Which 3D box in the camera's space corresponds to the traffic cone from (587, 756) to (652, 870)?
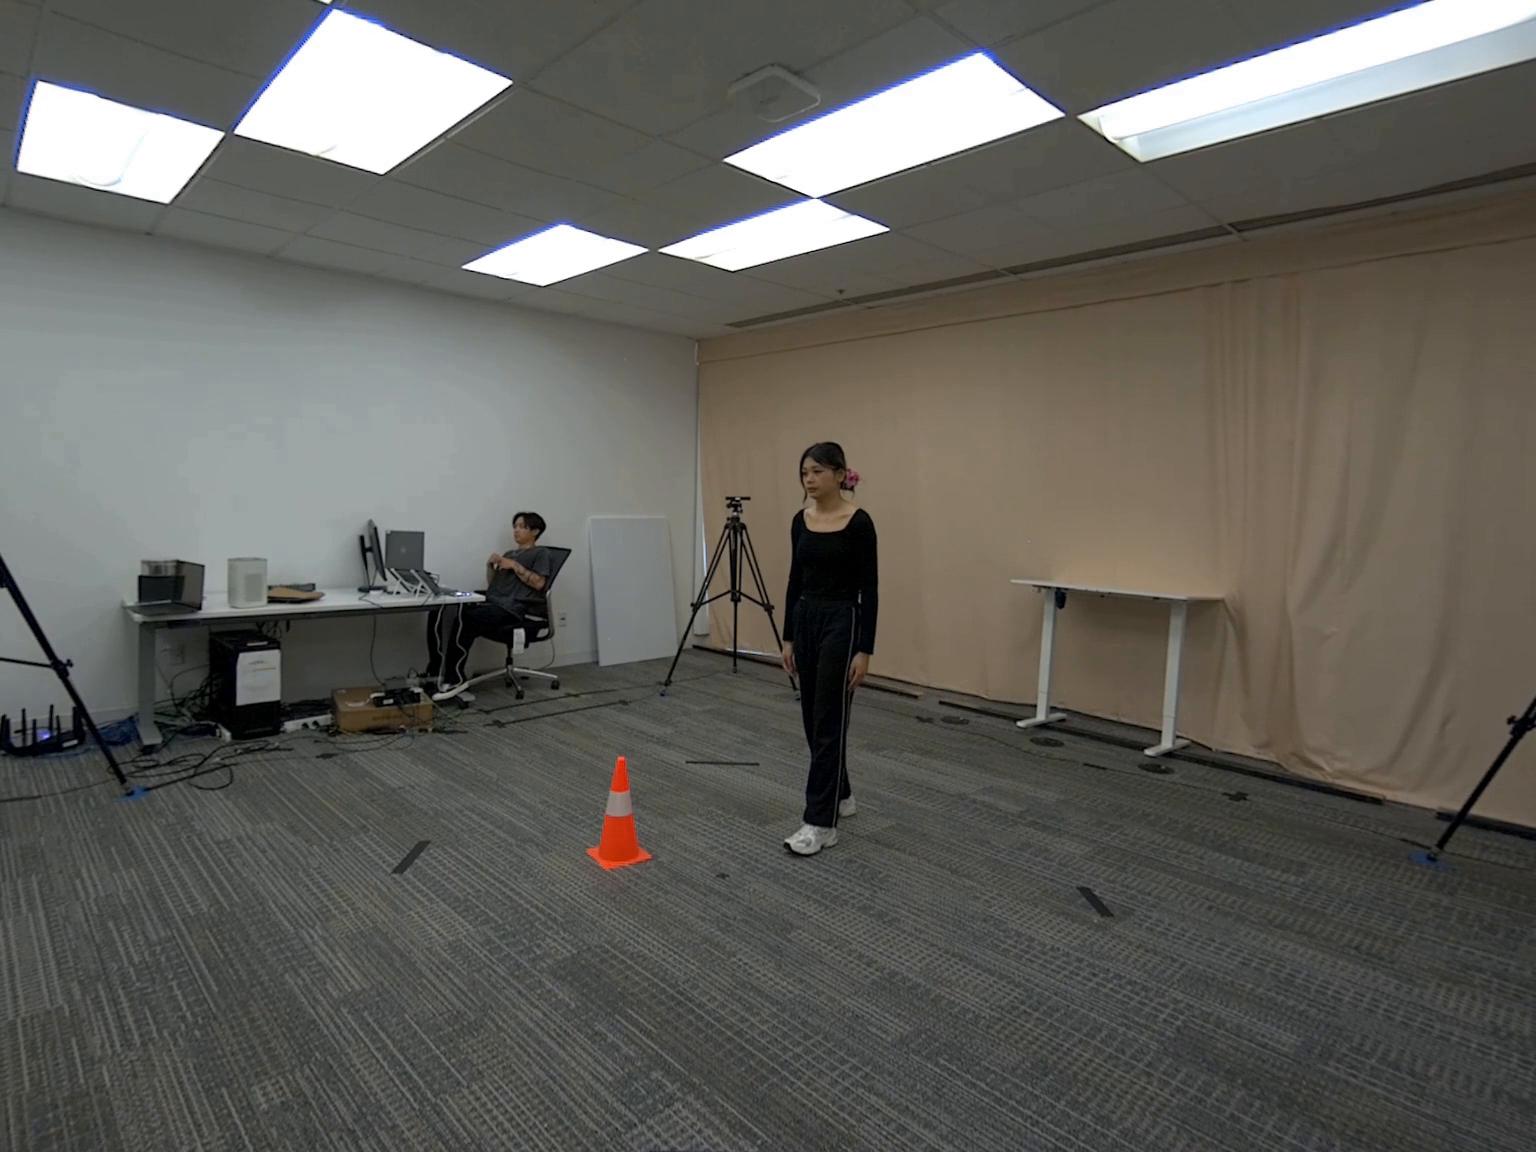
[{"bbox_3d":[-0.585,0.898,3.256,0.199,0.382,0.210,-1,5,-33],"label":"traffic cone"}]
